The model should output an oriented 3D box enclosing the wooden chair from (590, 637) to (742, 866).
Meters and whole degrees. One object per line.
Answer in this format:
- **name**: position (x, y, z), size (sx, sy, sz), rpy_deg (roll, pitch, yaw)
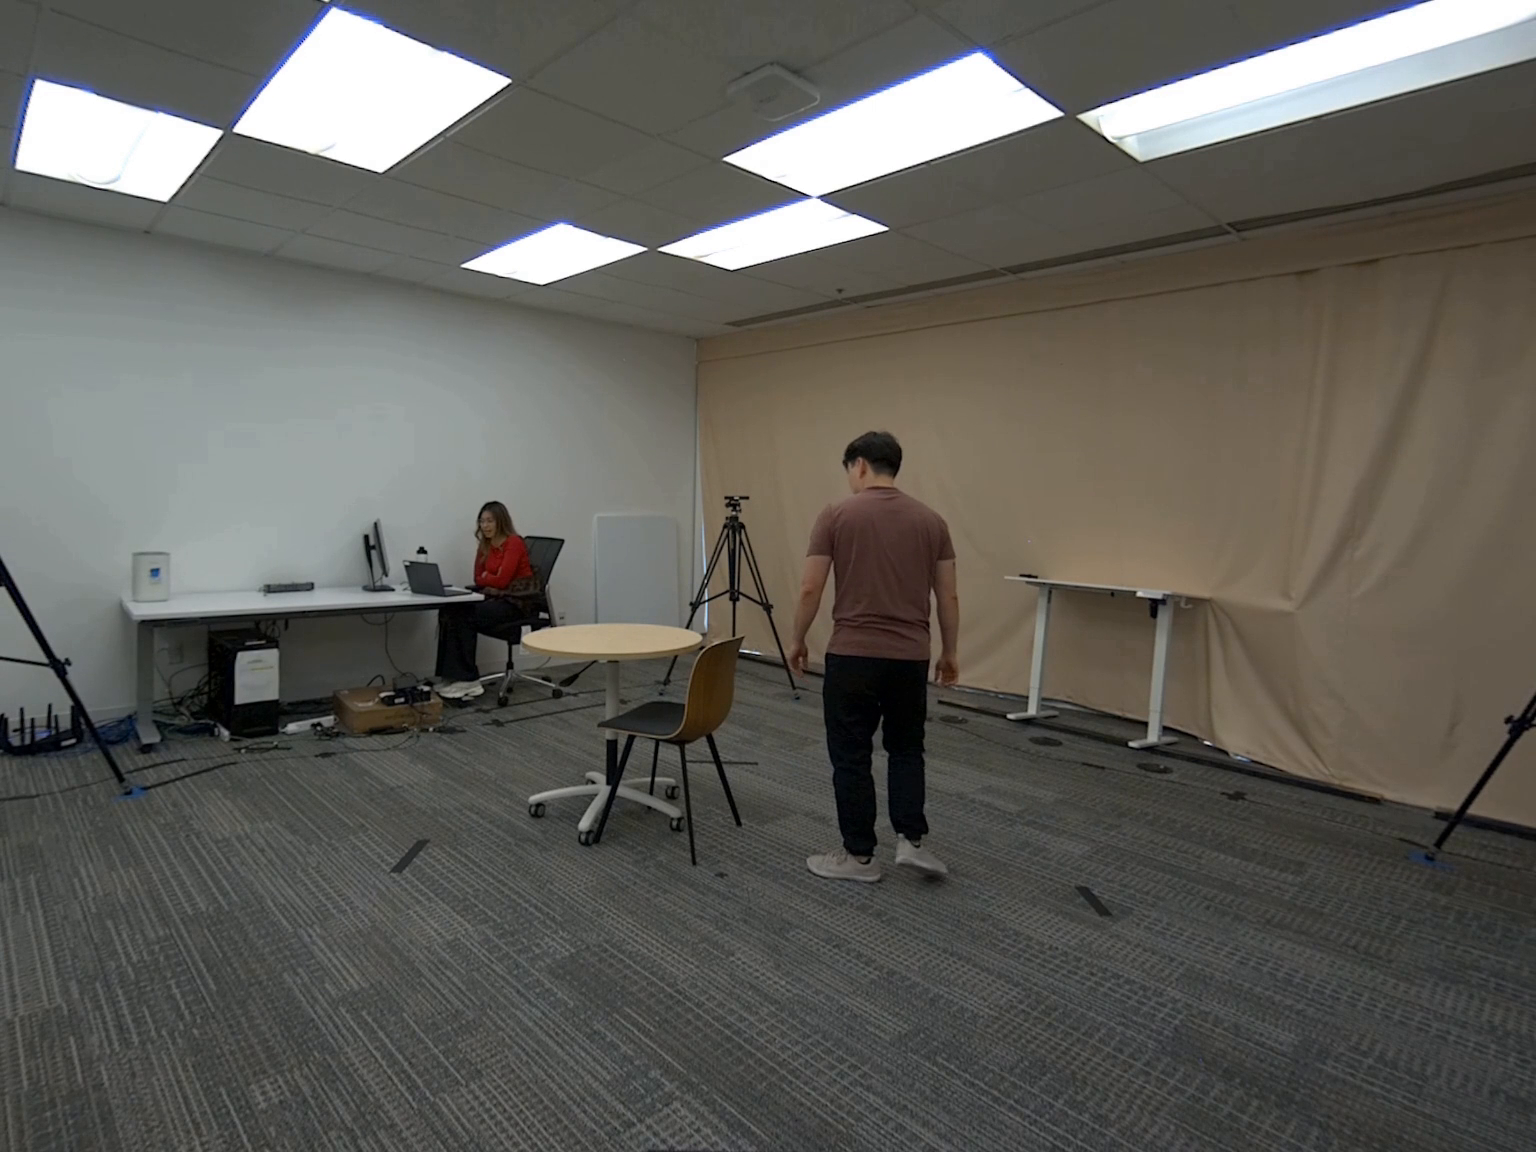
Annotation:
- **wooden chair**: position (-0.399, 0.642, 3.434), size (0.533, 0.874, 0.471), rpy_deg (7, 6, 23)
